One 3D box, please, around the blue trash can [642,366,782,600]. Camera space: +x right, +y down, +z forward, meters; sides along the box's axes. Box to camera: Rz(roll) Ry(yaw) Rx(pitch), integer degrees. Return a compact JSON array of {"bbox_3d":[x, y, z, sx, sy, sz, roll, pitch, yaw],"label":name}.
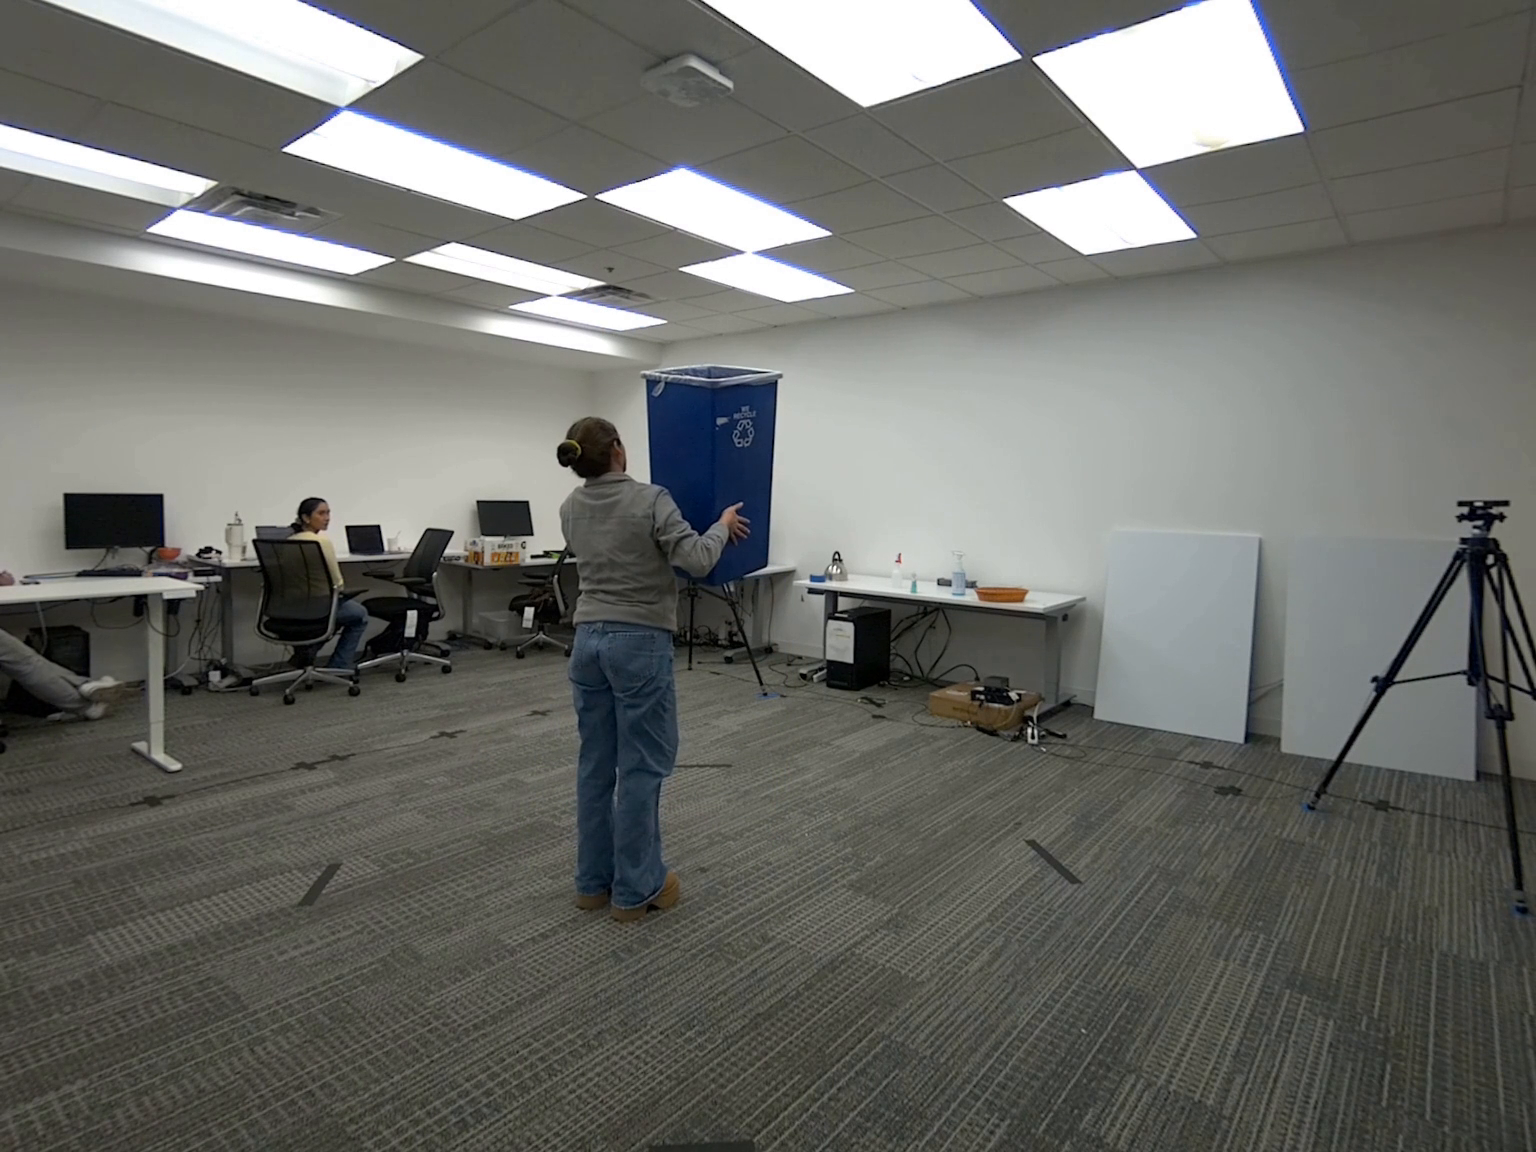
[{"bbox_3d":[-0.209,-0.372,3.029,0.392,0.702,0.366,16,23,39],"label":"blue trash can"}]
